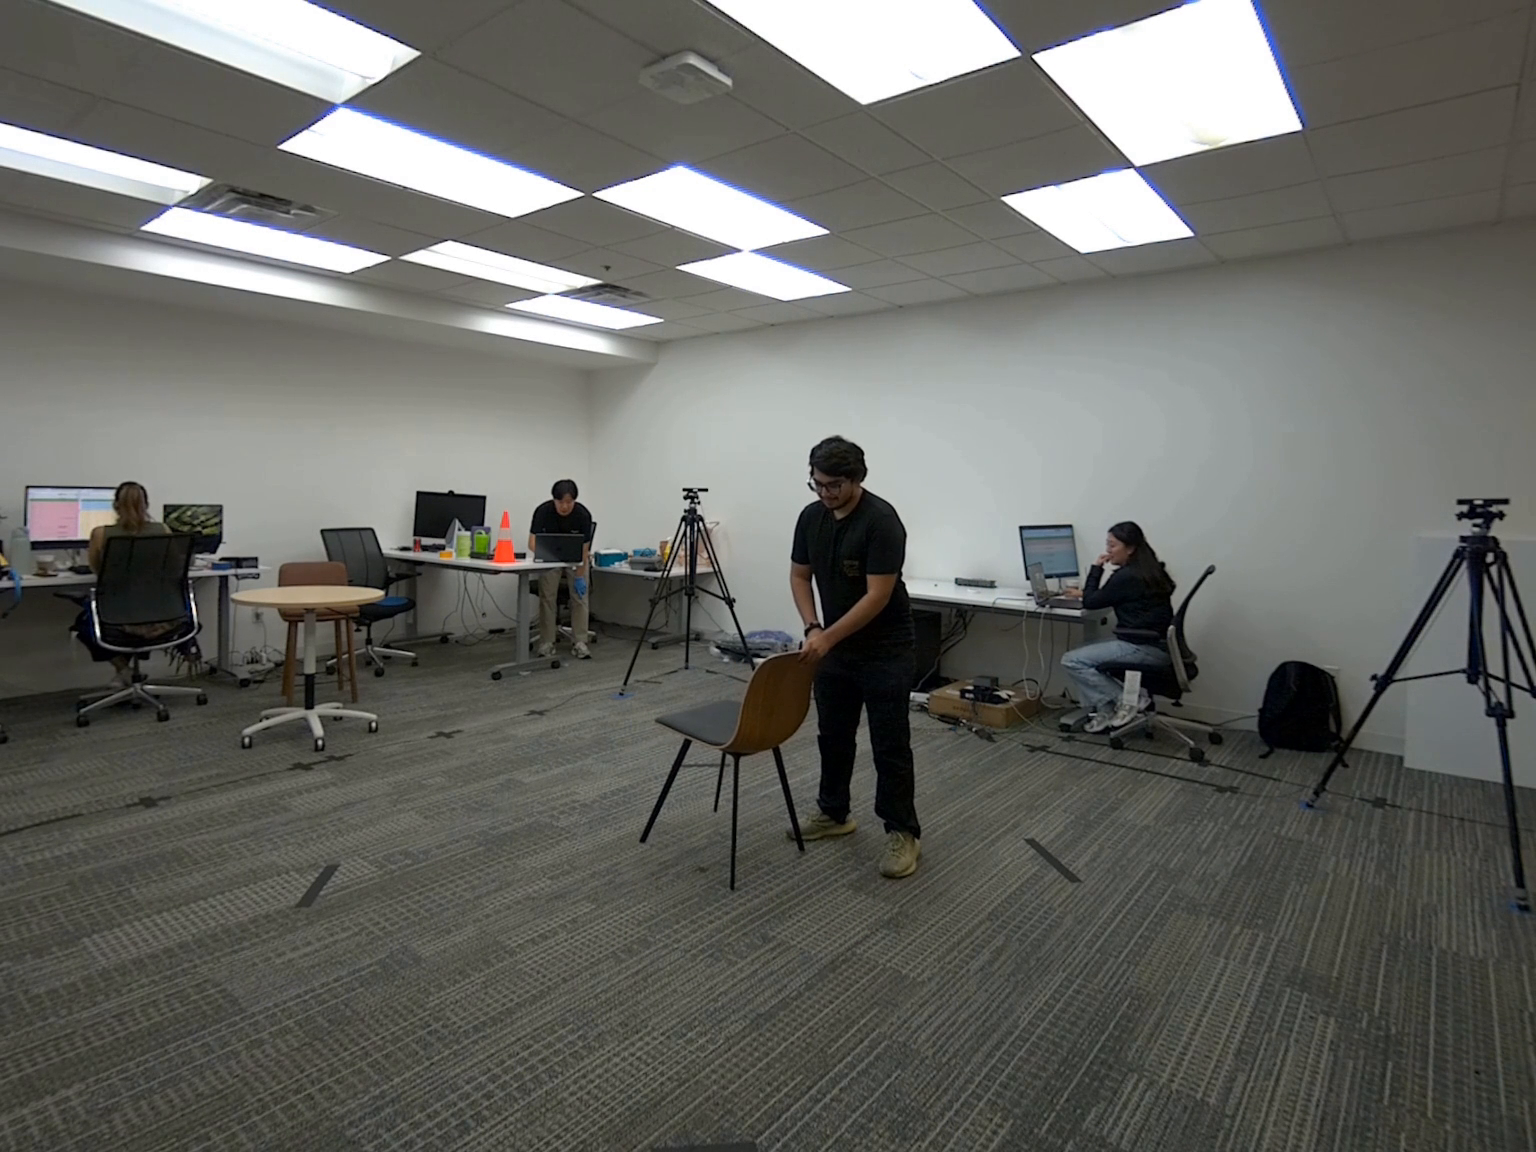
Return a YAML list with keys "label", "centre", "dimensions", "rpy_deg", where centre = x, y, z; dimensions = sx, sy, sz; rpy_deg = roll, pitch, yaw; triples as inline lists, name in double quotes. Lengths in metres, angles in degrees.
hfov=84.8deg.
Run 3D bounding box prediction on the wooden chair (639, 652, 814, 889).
- label: "wooden chair"
  centre: [-0.145, 0.614, 3.203]
  dimensions: [0.542, 0.871, 0.464]
  rpy_deg: [16, 11, 35]
